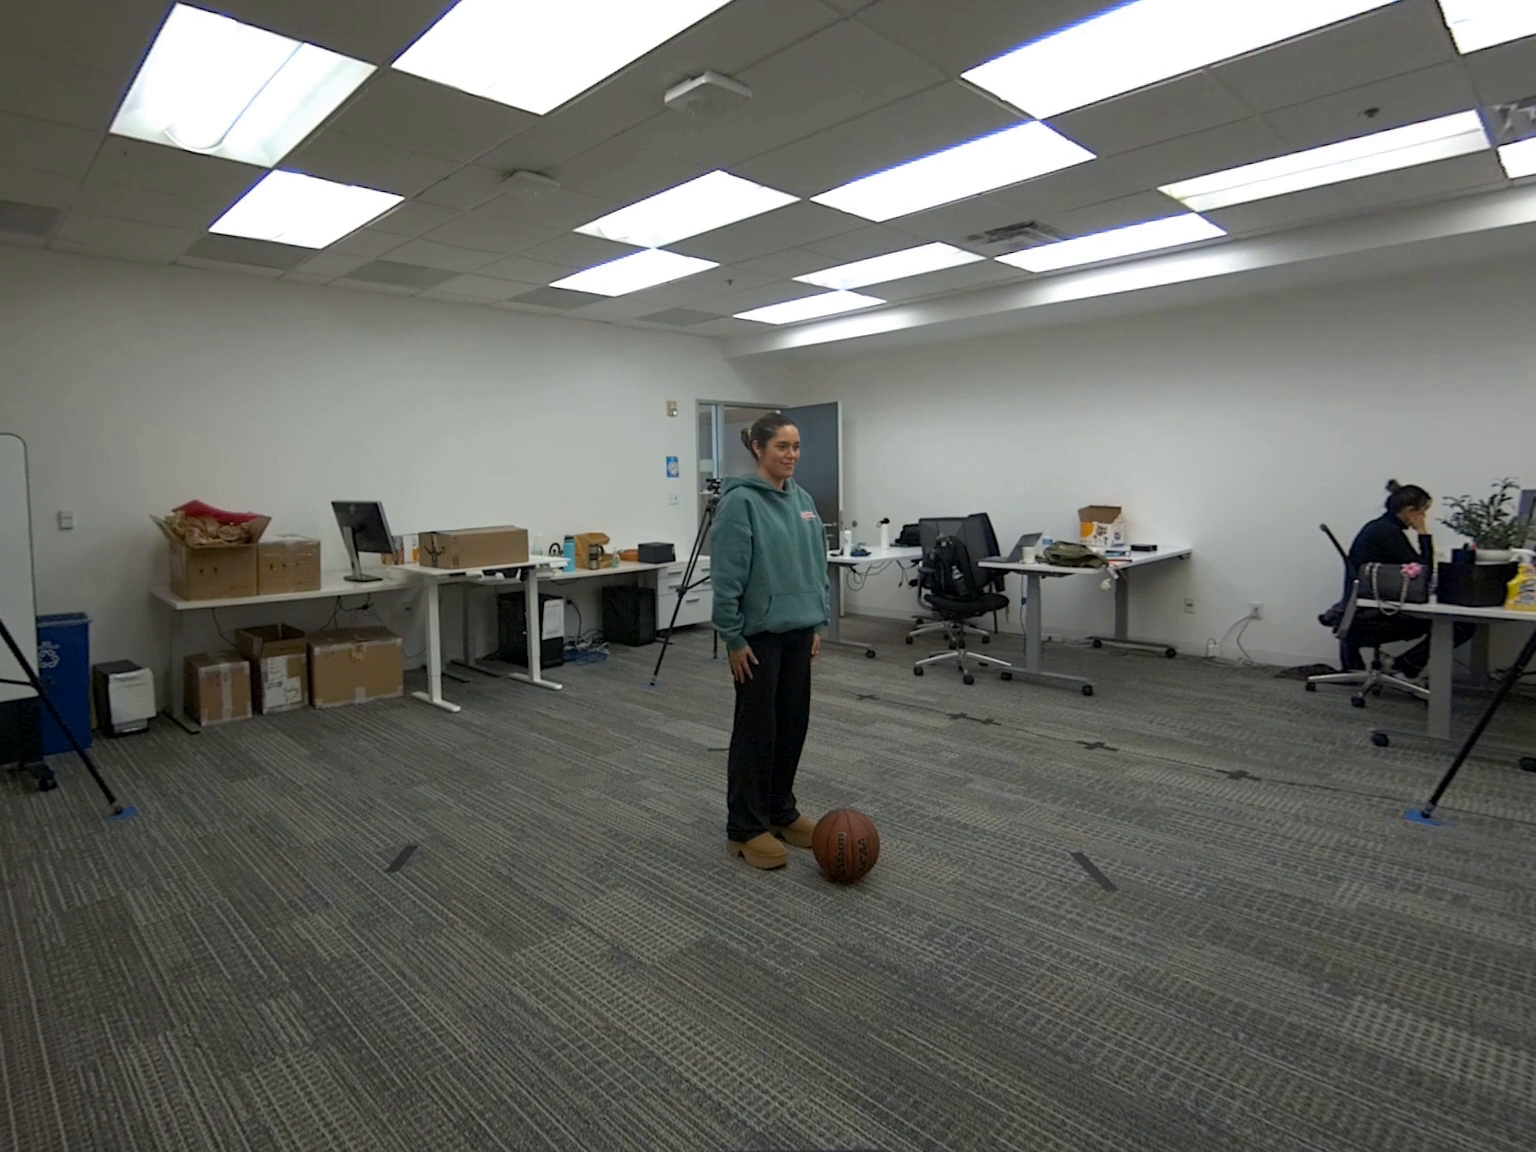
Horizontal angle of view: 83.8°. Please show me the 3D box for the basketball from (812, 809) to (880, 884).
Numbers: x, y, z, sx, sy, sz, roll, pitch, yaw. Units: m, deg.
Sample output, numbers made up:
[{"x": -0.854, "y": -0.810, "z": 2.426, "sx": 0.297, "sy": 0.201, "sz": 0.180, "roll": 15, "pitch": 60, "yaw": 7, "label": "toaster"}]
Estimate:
[{"x": 0.278, "y": 0.935, "z": 2.982, "sx": 0.236, "sy": 0.235, "sz": 0.237, "roll": -1, "pitch": 5, "yaw": -2, "label": "basketball"}]
